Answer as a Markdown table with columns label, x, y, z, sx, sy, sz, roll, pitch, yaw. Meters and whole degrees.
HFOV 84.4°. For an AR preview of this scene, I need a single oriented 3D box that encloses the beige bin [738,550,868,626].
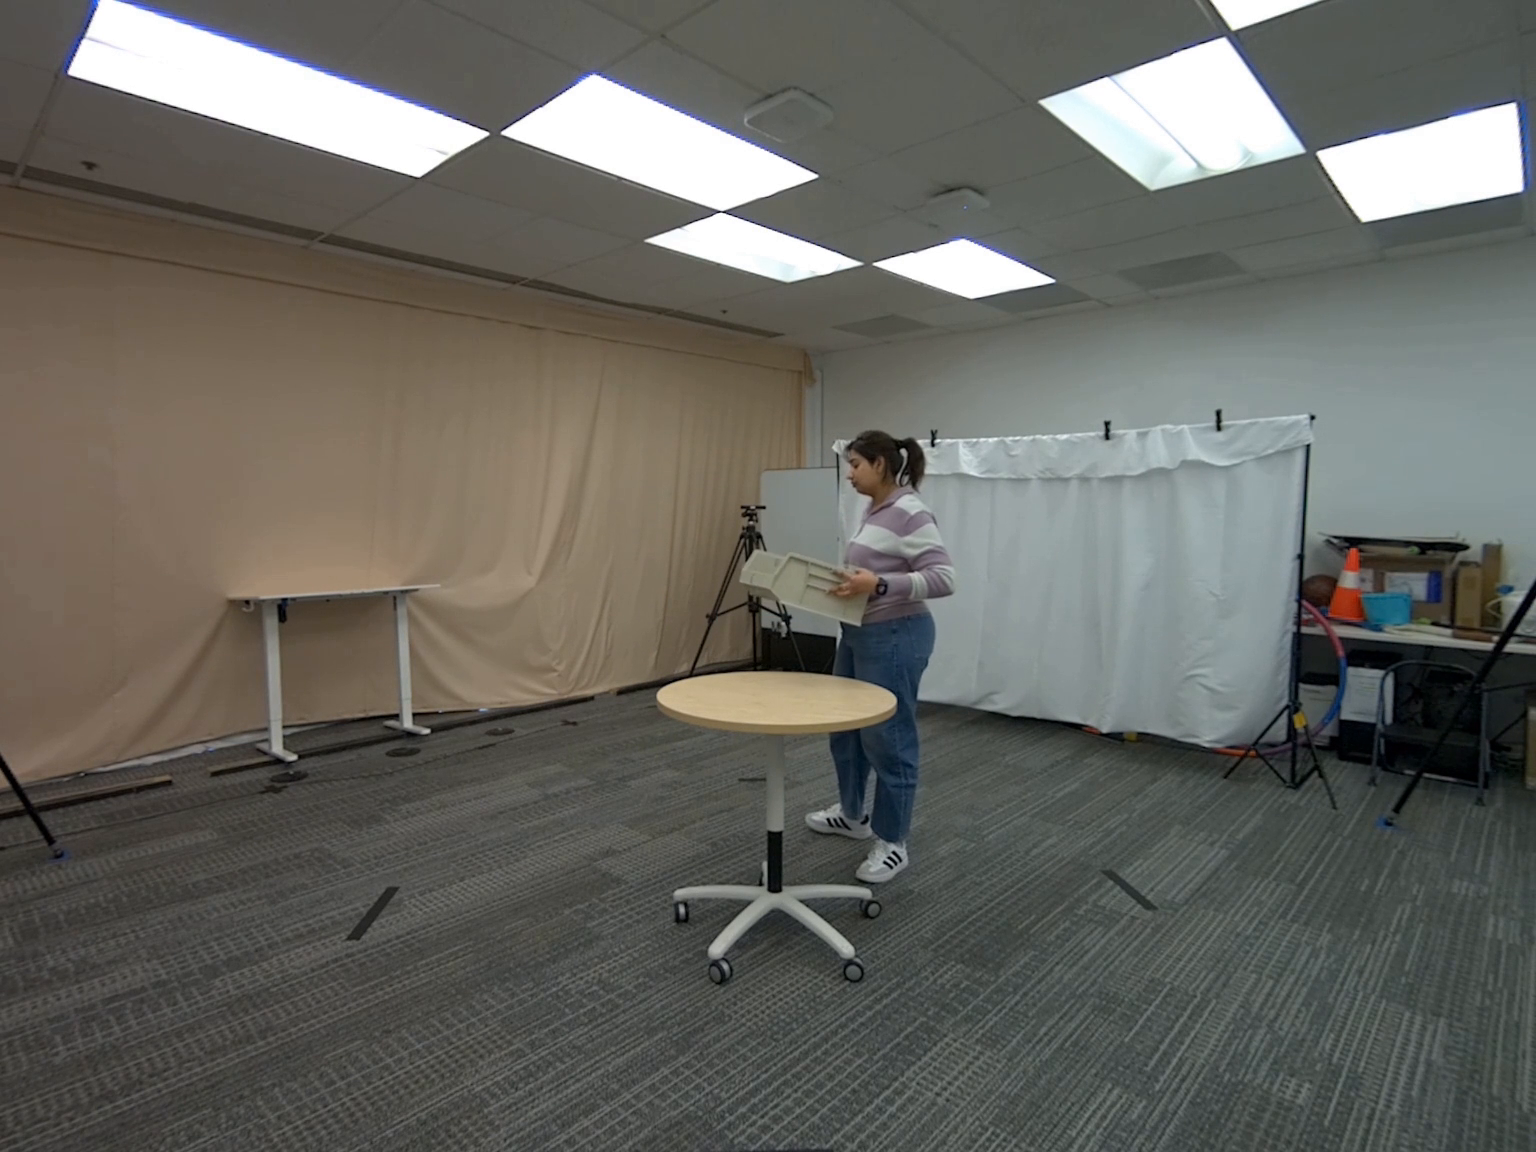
| label | x | y | z | sx | sy | sz | roll | pitch | yaw |
| --- | --- | --- | --- | --- | --- | --- | --- | --- | --- |
| beige bin | 0.132 | 0.037 | 3.151 | 0.370 | 0.189 | 0.430 | 16 | -2 | -17 |
